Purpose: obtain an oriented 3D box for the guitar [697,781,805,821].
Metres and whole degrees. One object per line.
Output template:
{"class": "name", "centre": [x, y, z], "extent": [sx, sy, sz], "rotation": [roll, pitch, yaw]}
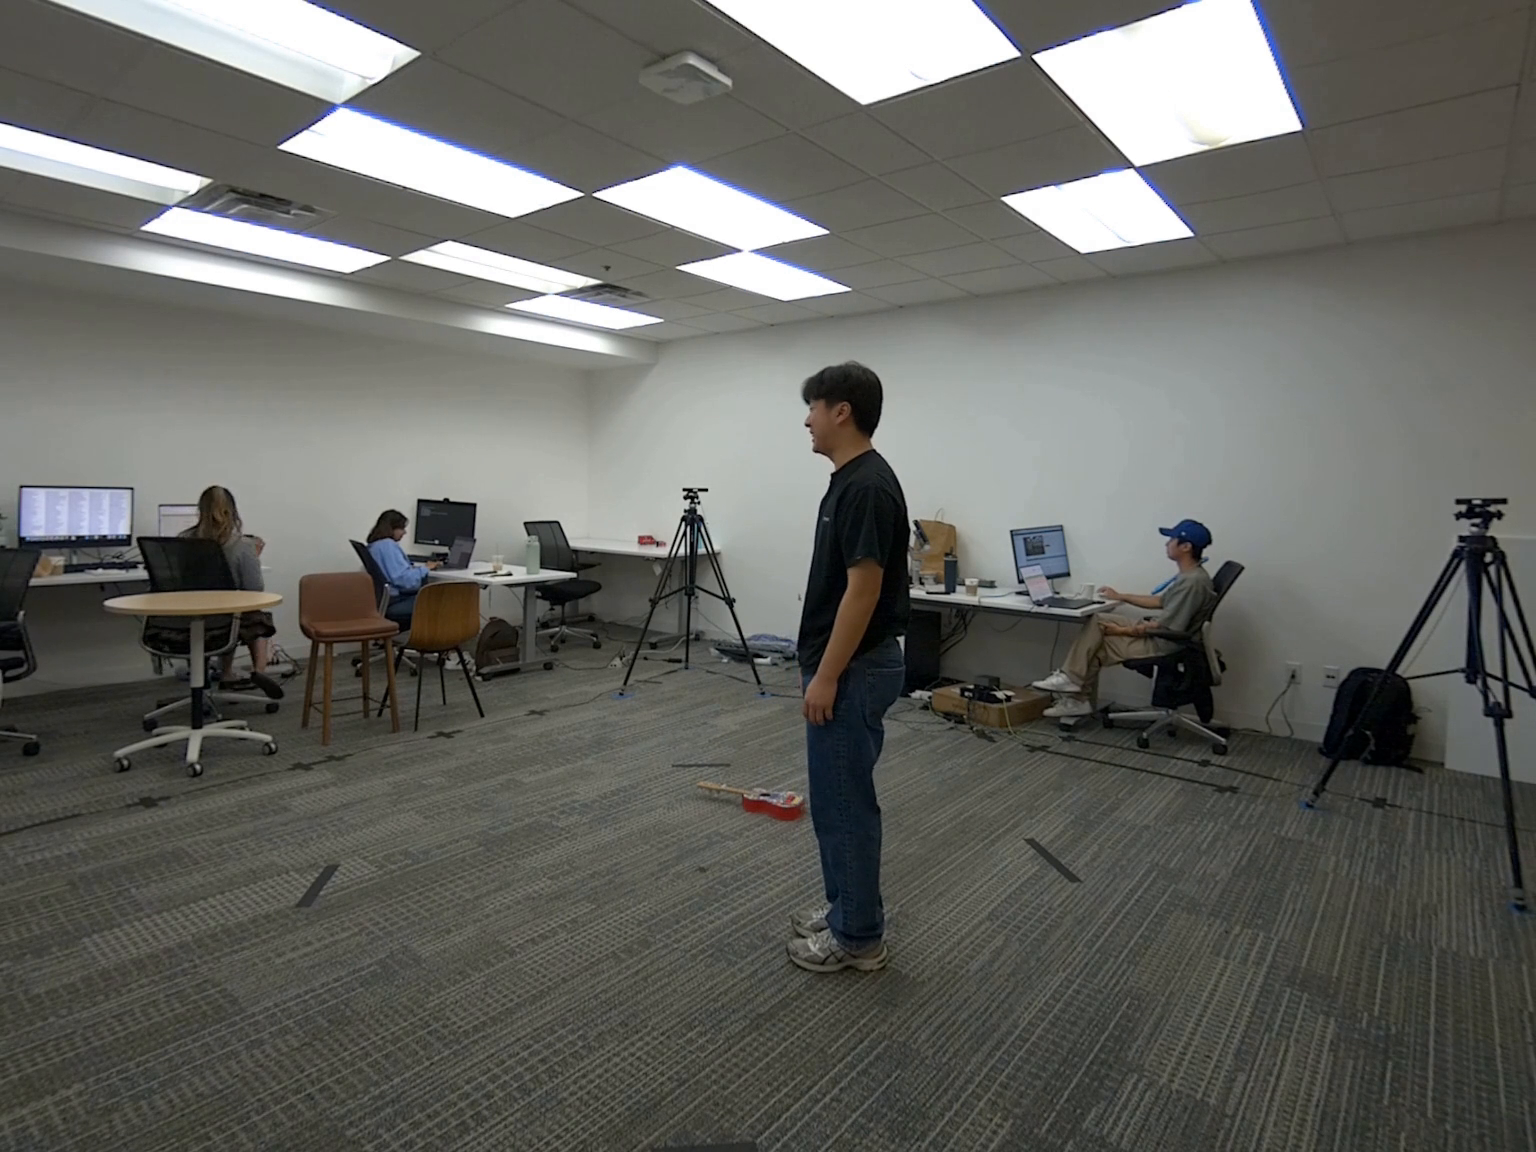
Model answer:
{"class": "guitar", "centre": [-0.080, 0.972, 3.775], "extent": [0.513, 0.070, 0.188], "rotation": [5, 6, 31]}
